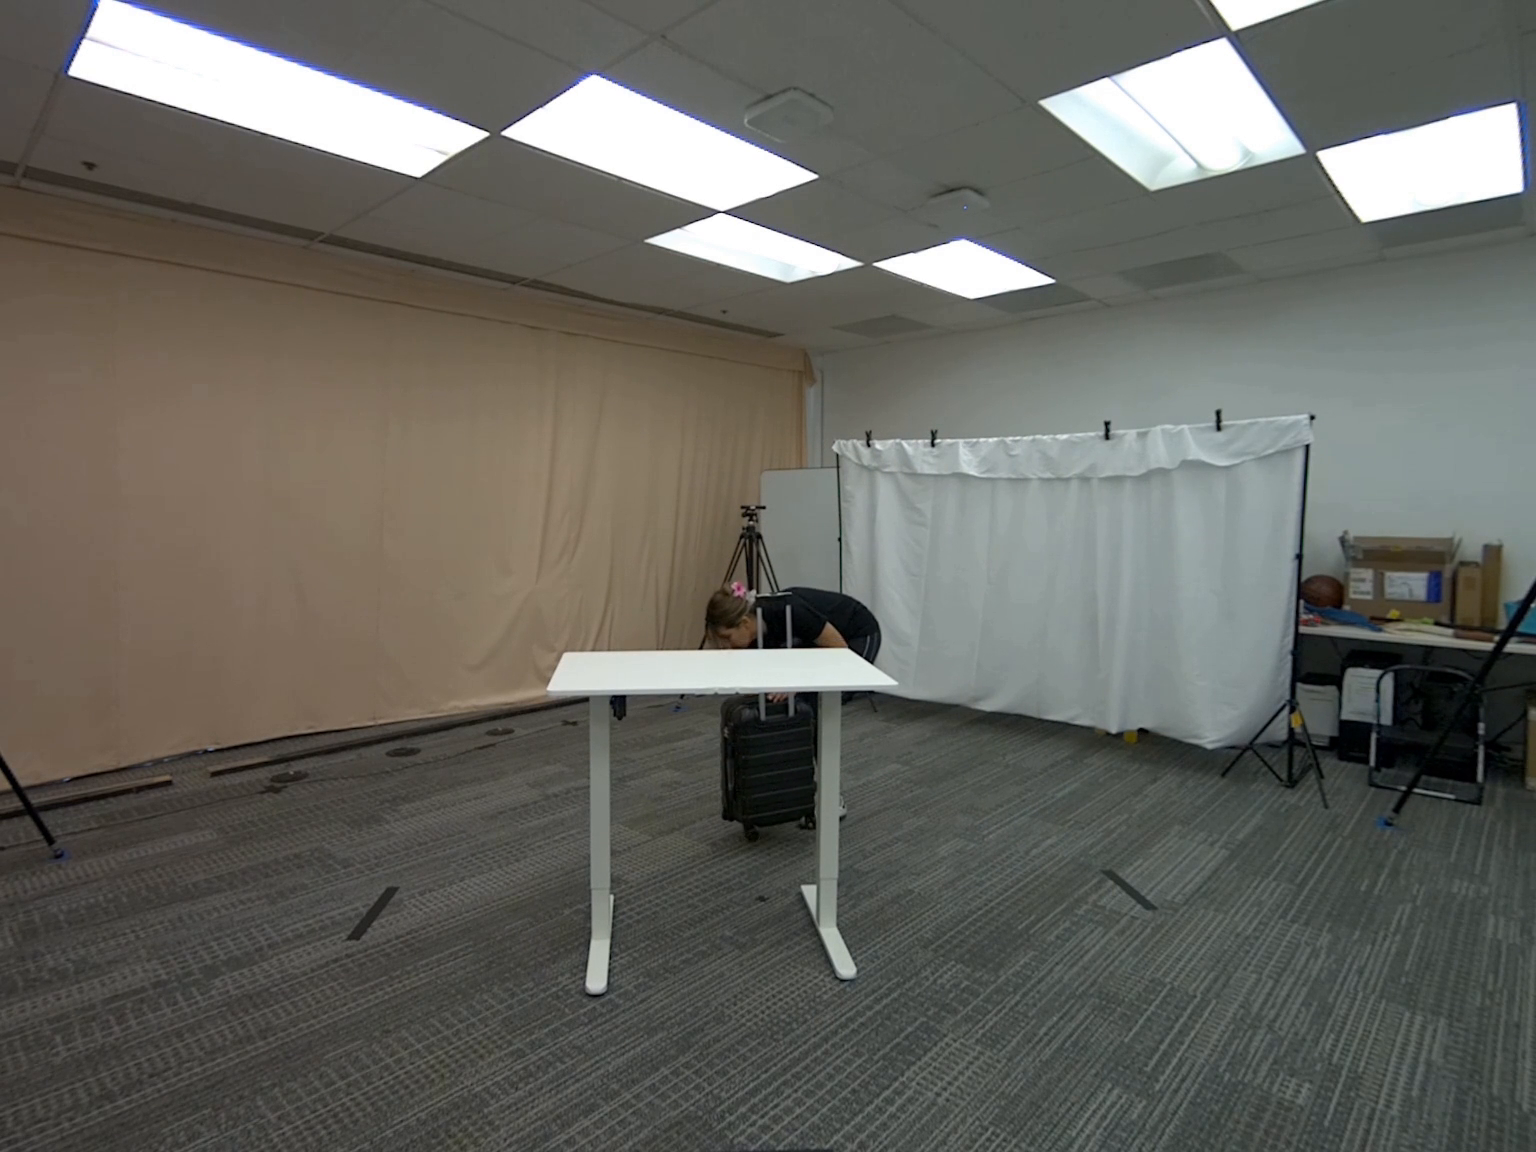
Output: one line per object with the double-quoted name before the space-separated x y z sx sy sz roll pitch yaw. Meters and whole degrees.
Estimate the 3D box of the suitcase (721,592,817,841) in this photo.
"suitcase" -0.019 0.560 3.472 0.377 0.976 0.262 -4 4 -19
